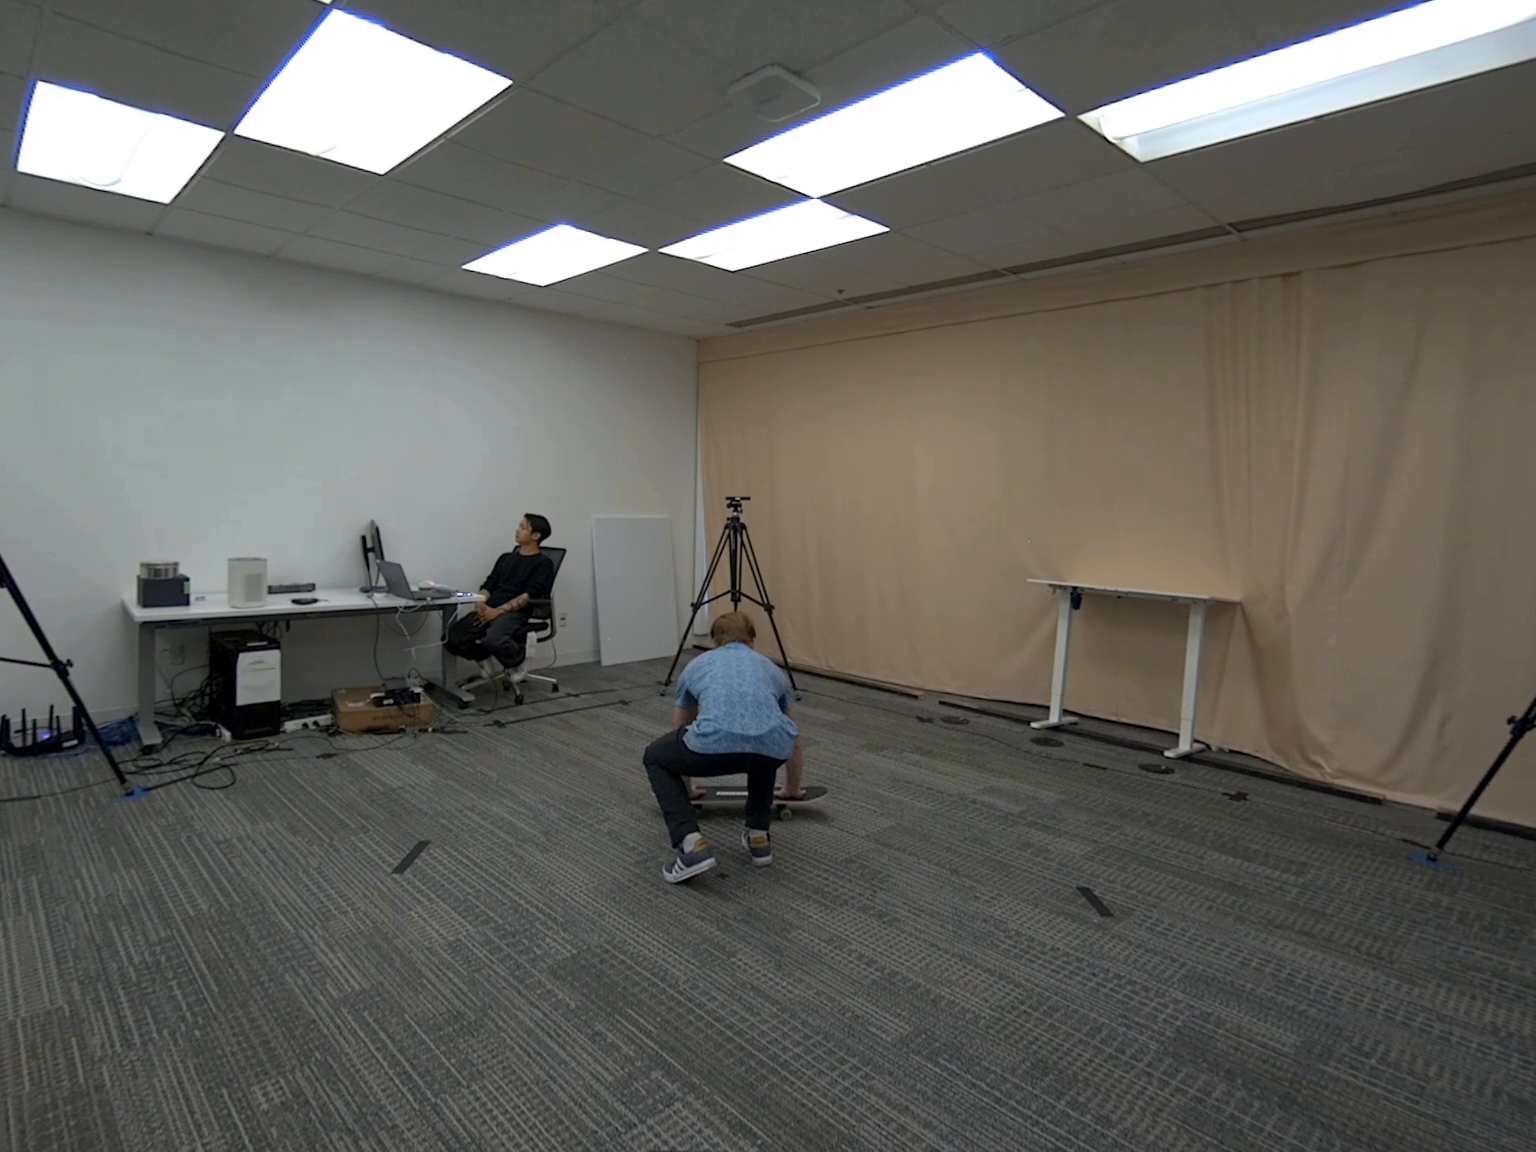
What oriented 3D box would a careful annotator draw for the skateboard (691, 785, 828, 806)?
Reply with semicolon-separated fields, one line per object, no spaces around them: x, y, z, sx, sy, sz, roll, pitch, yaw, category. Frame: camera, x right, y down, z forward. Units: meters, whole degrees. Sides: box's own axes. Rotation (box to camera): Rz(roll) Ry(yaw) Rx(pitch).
-0.133;0.990;3.721;0.784;0.110;0.194;1;3;-2;skateboard
